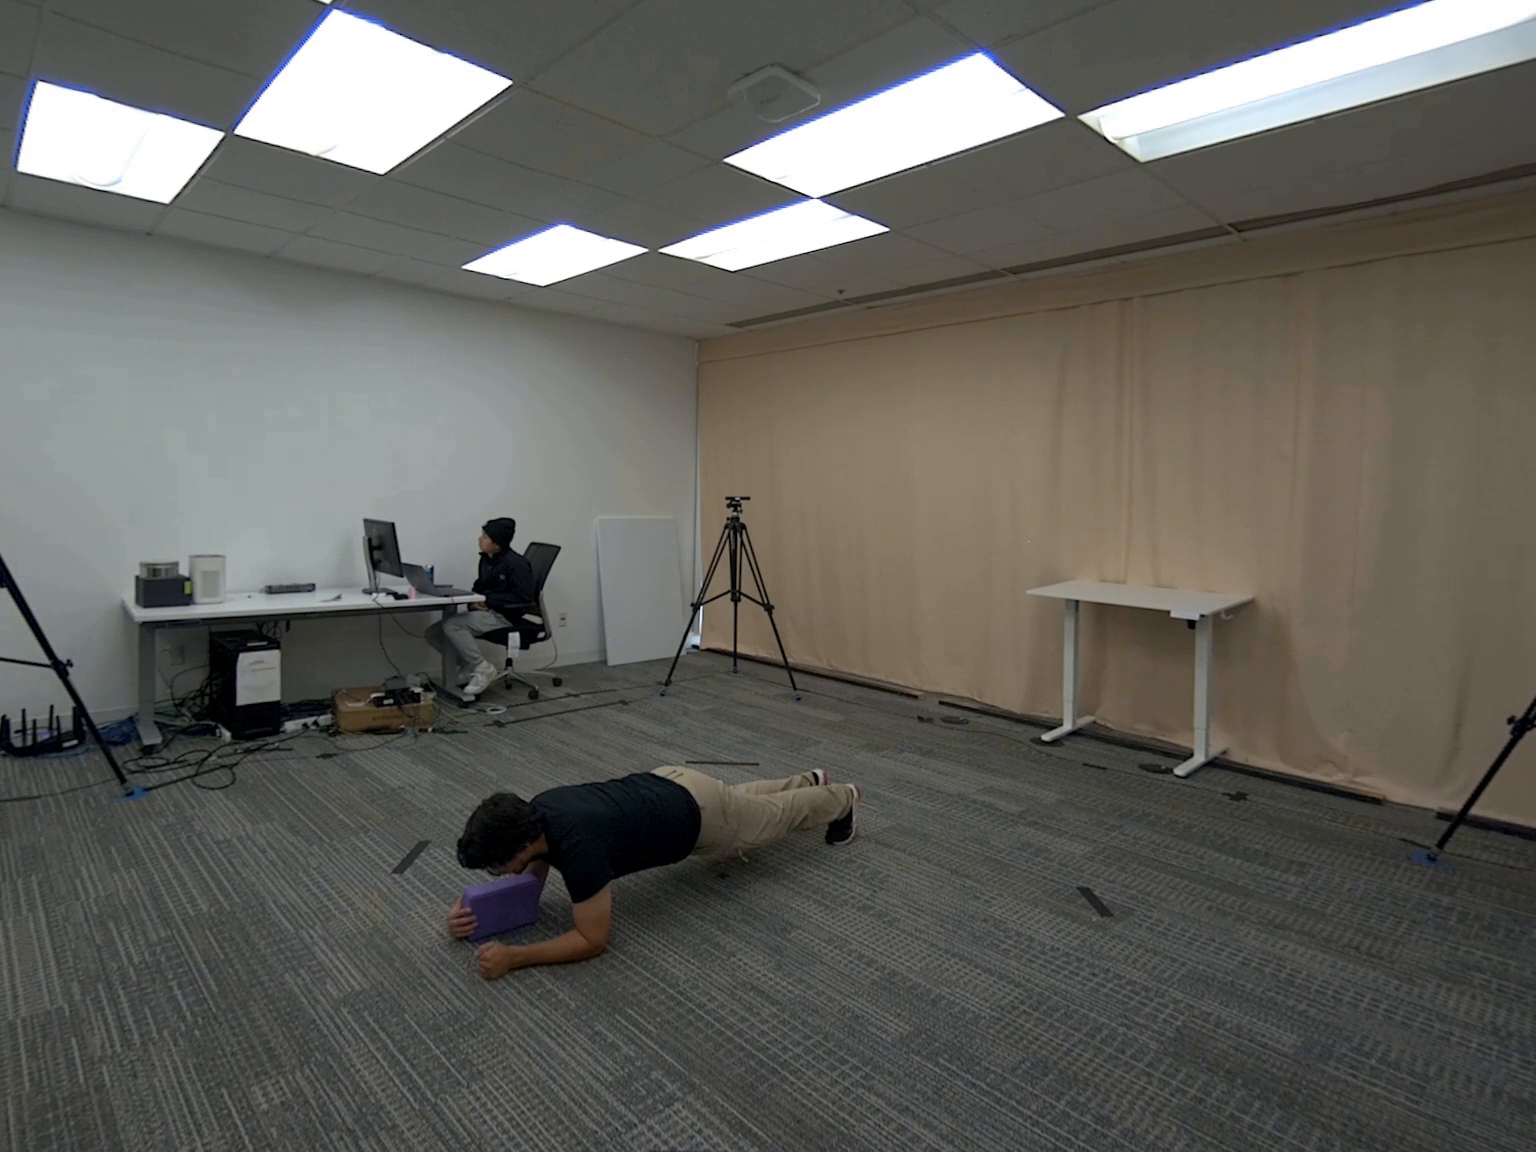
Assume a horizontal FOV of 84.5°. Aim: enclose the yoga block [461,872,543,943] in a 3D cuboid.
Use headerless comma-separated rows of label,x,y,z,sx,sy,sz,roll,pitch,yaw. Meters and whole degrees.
yoga block,-0.867,1.049,2.688,0.224,0.148,0.078,-4,10,-37
